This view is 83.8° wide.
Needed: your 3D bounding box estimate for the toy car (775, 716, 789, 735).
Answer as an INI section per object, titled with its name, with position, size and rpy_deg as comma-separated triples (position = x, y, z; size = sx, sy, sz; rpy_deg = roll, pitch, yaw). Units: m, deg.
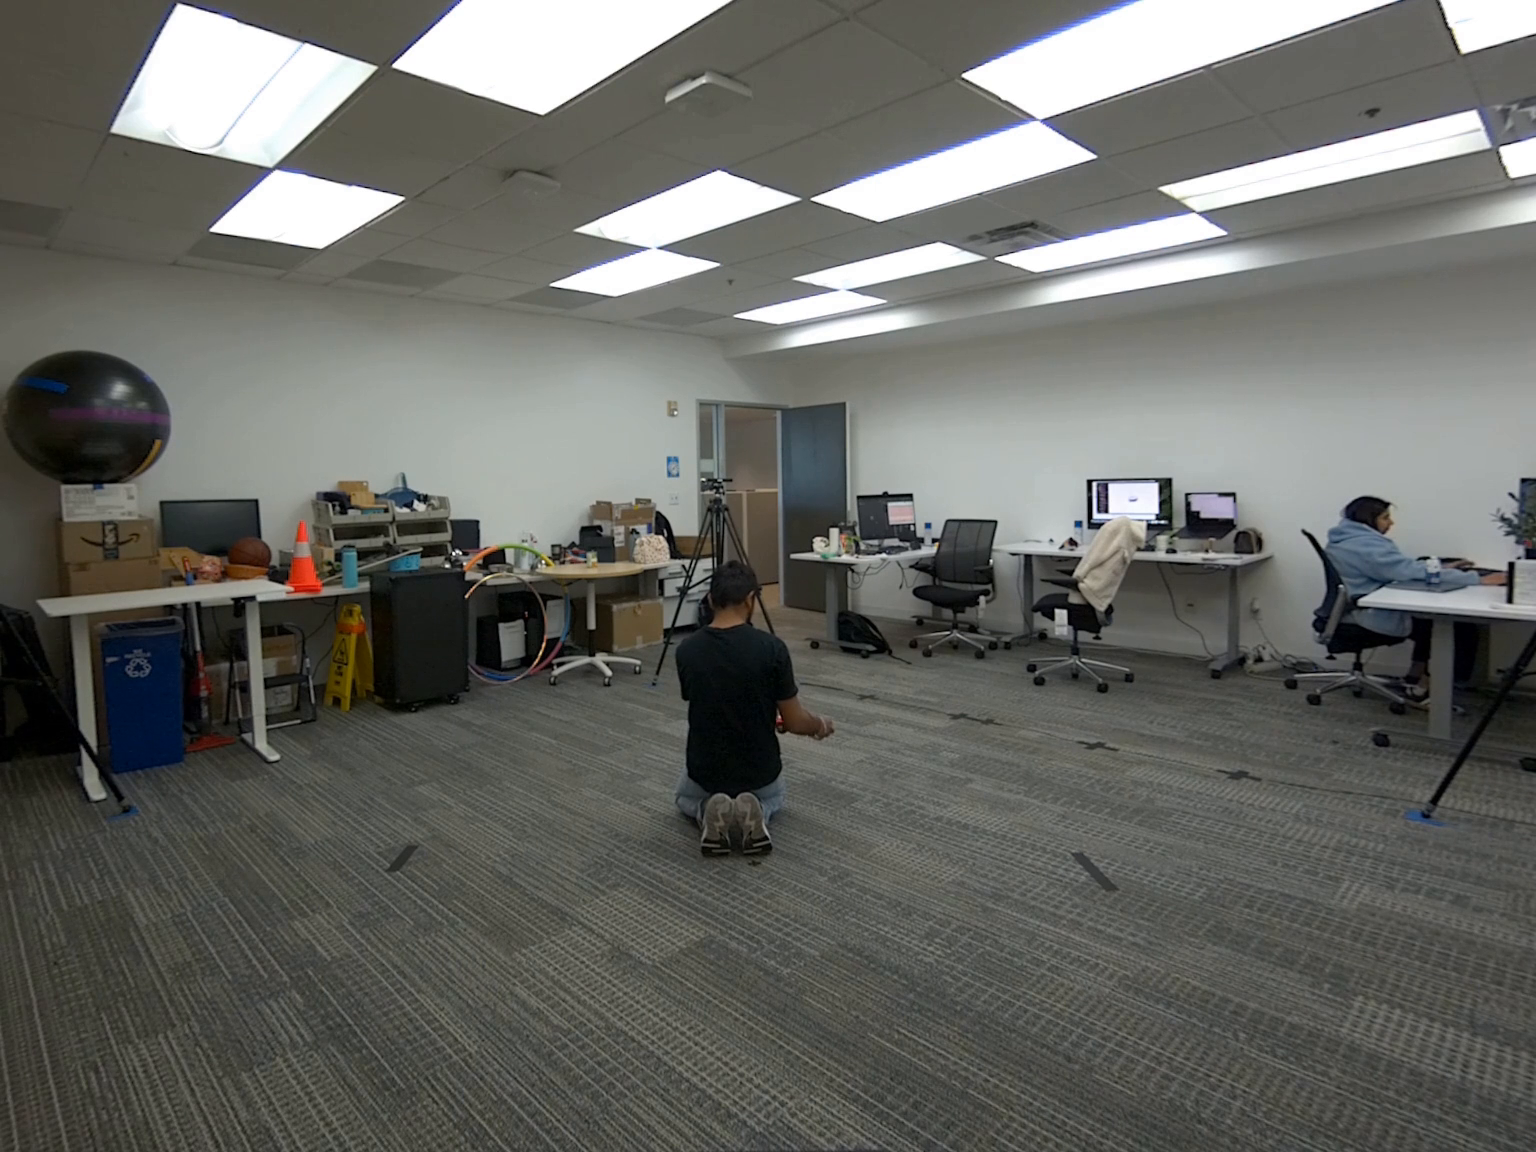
[toy car]
position = 0.128, 0.629, 3.622
size = 0.263, 0.083, 0.126
rpy_deg = 12, 8, 38
